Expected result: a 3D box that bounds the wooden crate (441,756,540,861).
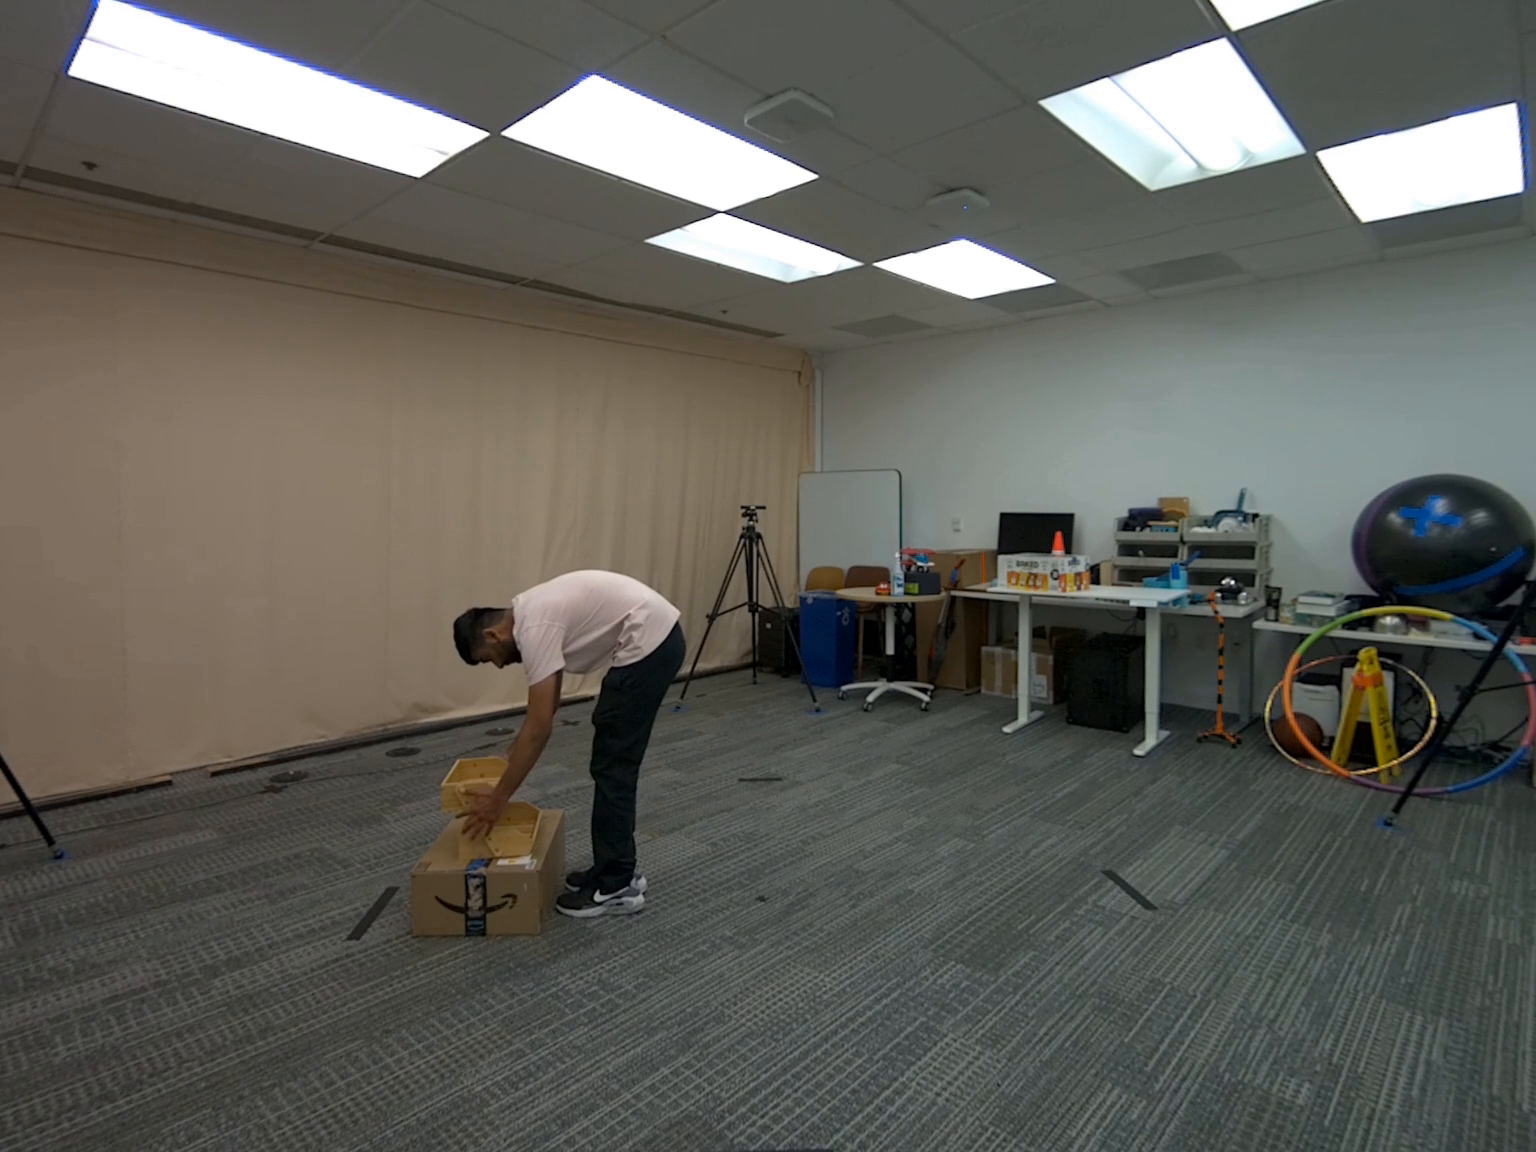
[{"bbox_3d":[-0.968,0.814,2.989,0.299,0.273,0.328,-2,3,-9],"label":"wooden crate"}]
